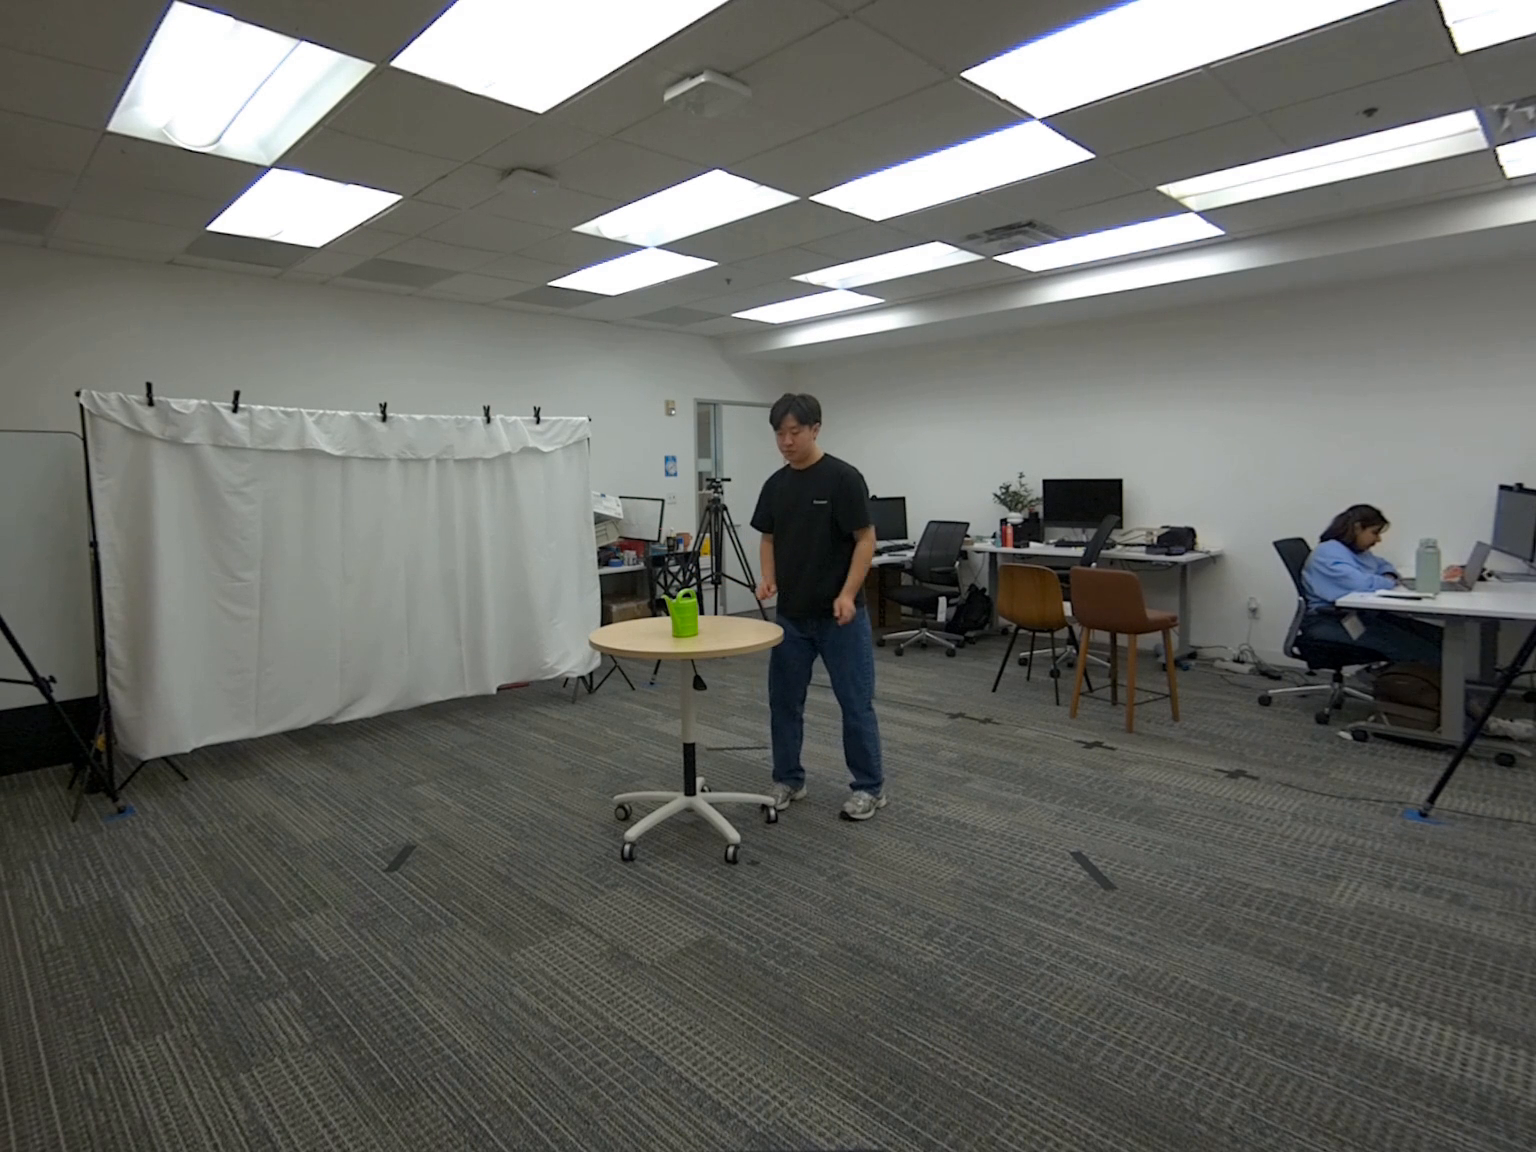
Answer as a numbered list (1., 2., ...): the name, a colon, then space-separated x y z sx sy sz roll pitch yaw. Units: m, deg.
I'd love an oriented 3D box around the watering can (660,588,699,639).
1. watering can: -0.340 0.142 3.274 0.100 0.176 0.272 0 4 31
